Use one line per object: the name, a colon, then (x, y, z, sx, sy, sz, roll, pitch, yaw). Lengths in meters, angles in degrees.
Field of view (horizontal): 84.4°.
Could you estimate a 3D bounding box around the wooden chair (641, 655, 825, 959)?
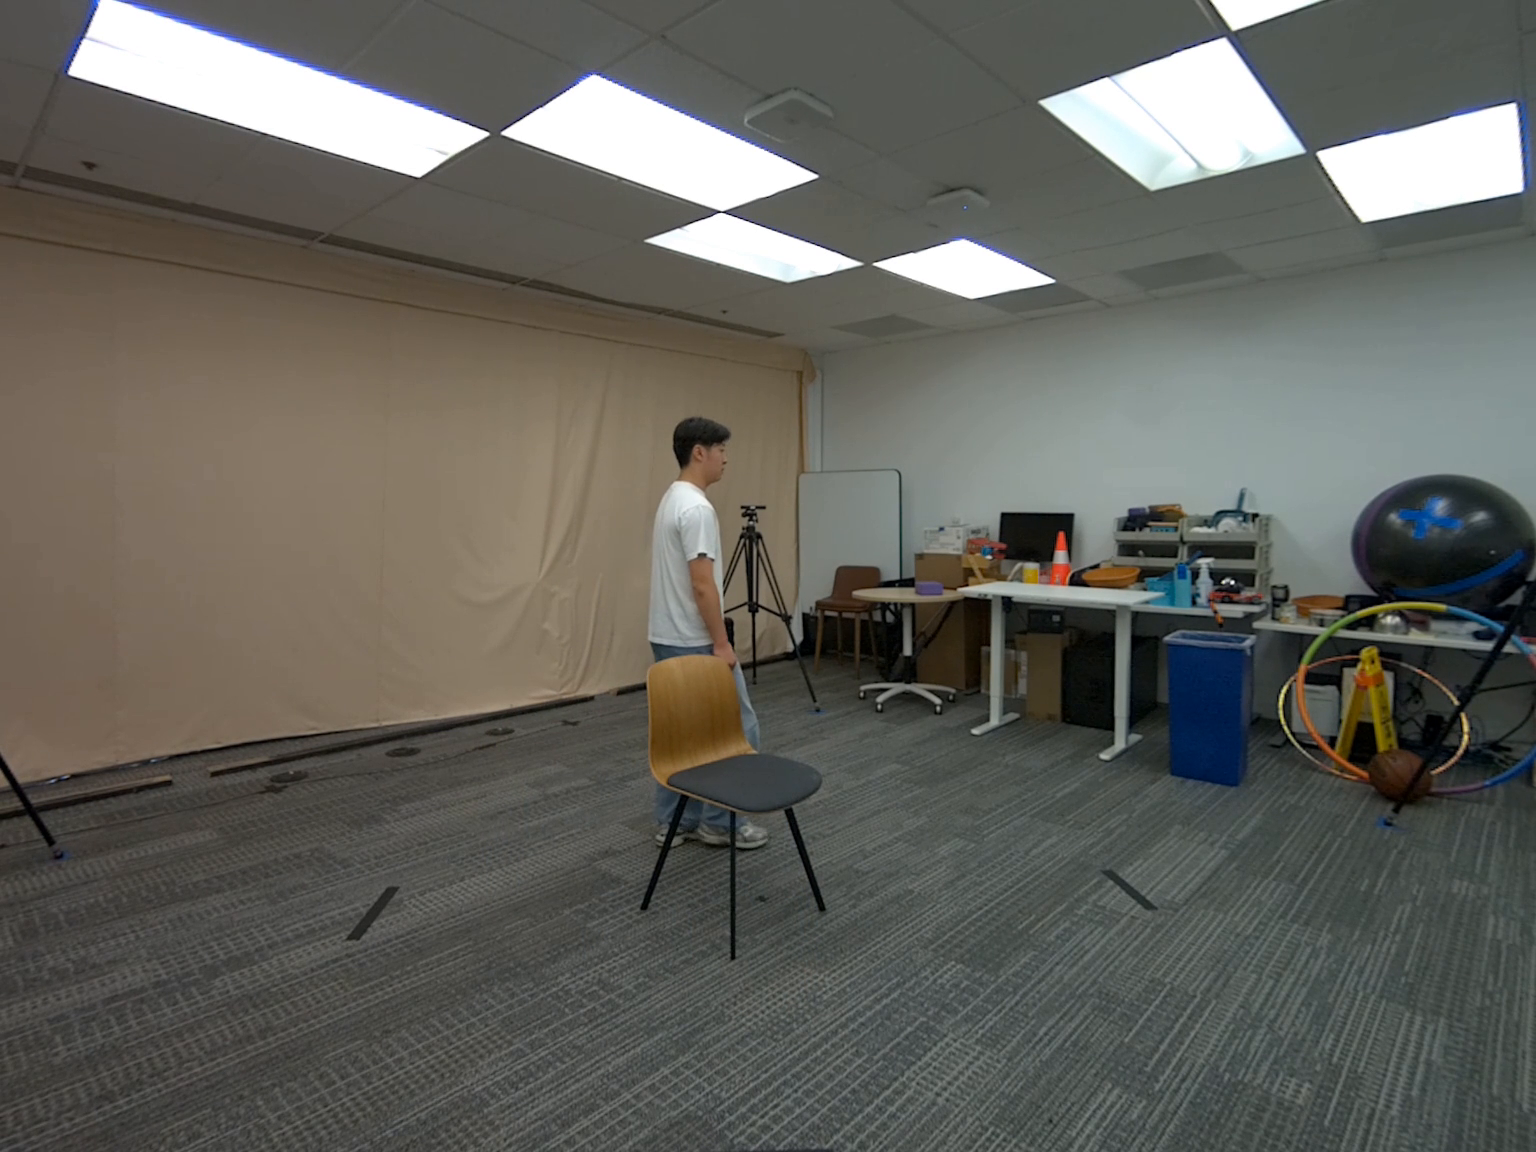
wooden chair: (-0.114, 0.726, 2.861, 0.539, 0.877, 0.463, -3, 0, 44)
